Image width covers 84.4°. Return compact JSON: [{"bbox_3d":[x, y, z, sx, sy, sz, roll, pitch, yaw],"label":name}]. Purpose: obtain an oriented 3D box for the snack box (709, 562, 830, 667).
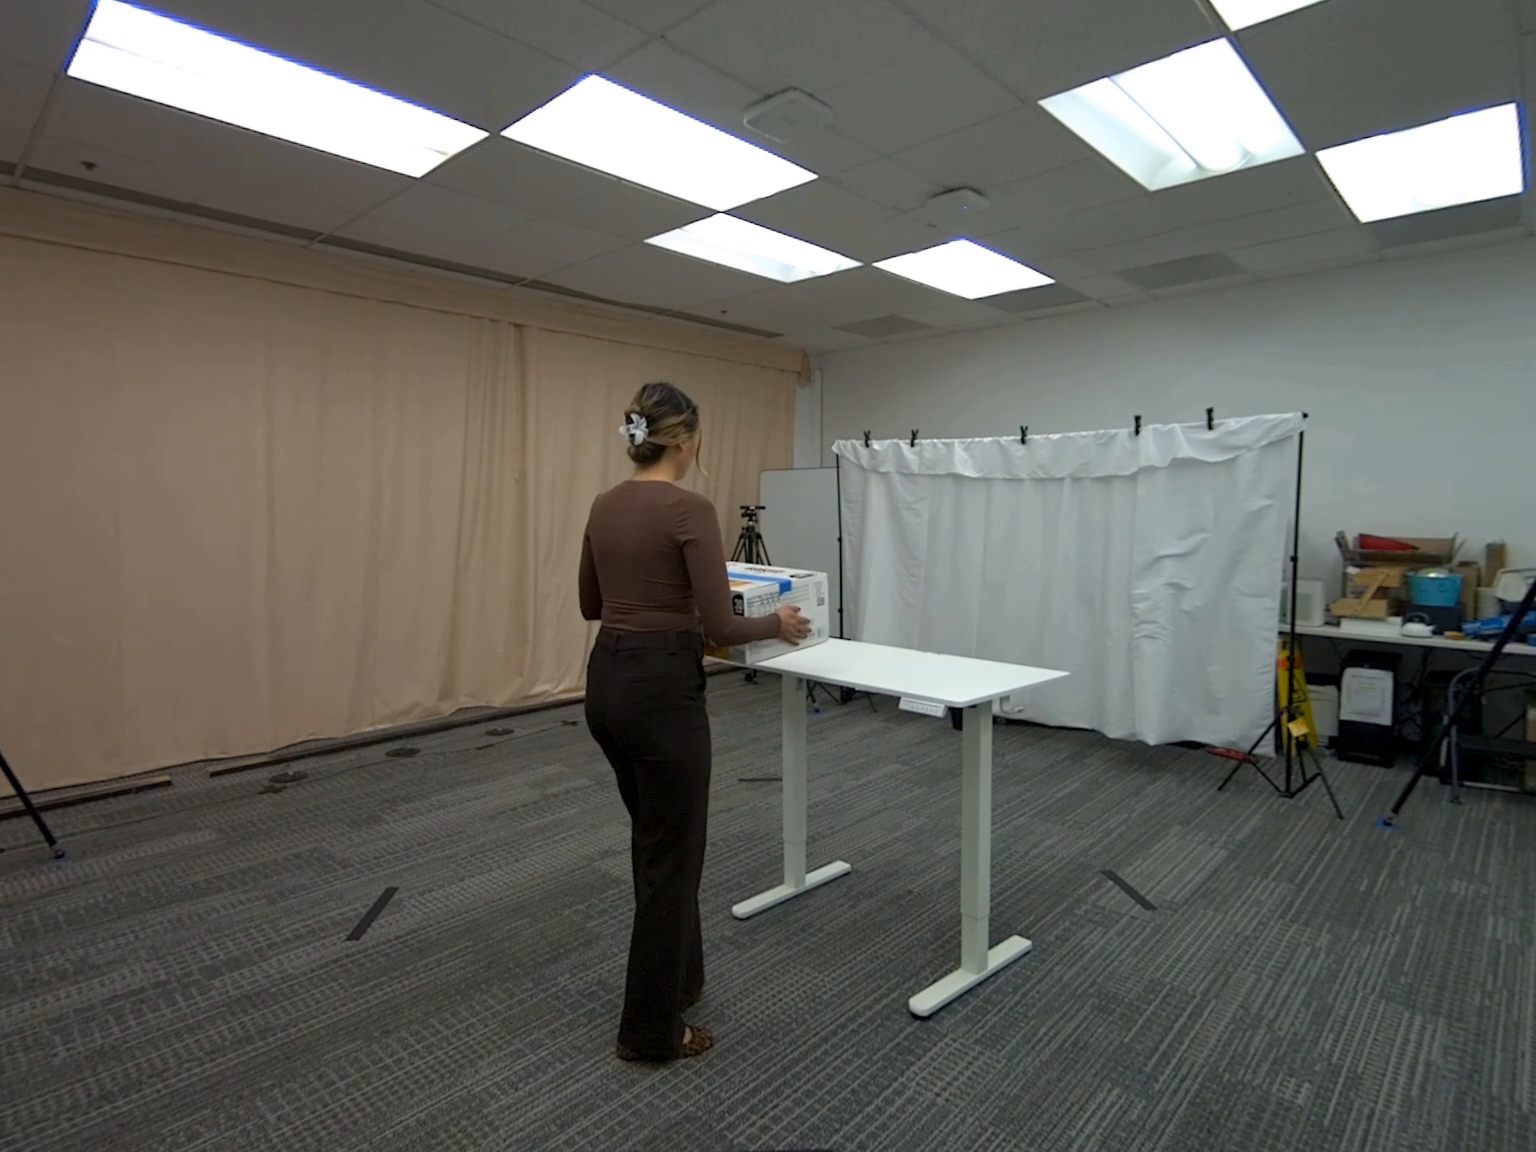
[{"bbox_3d":[-0.088,0.099,2.462,0.331,0.204,0.419,-11,13,-43],"label":"snack box"}]
